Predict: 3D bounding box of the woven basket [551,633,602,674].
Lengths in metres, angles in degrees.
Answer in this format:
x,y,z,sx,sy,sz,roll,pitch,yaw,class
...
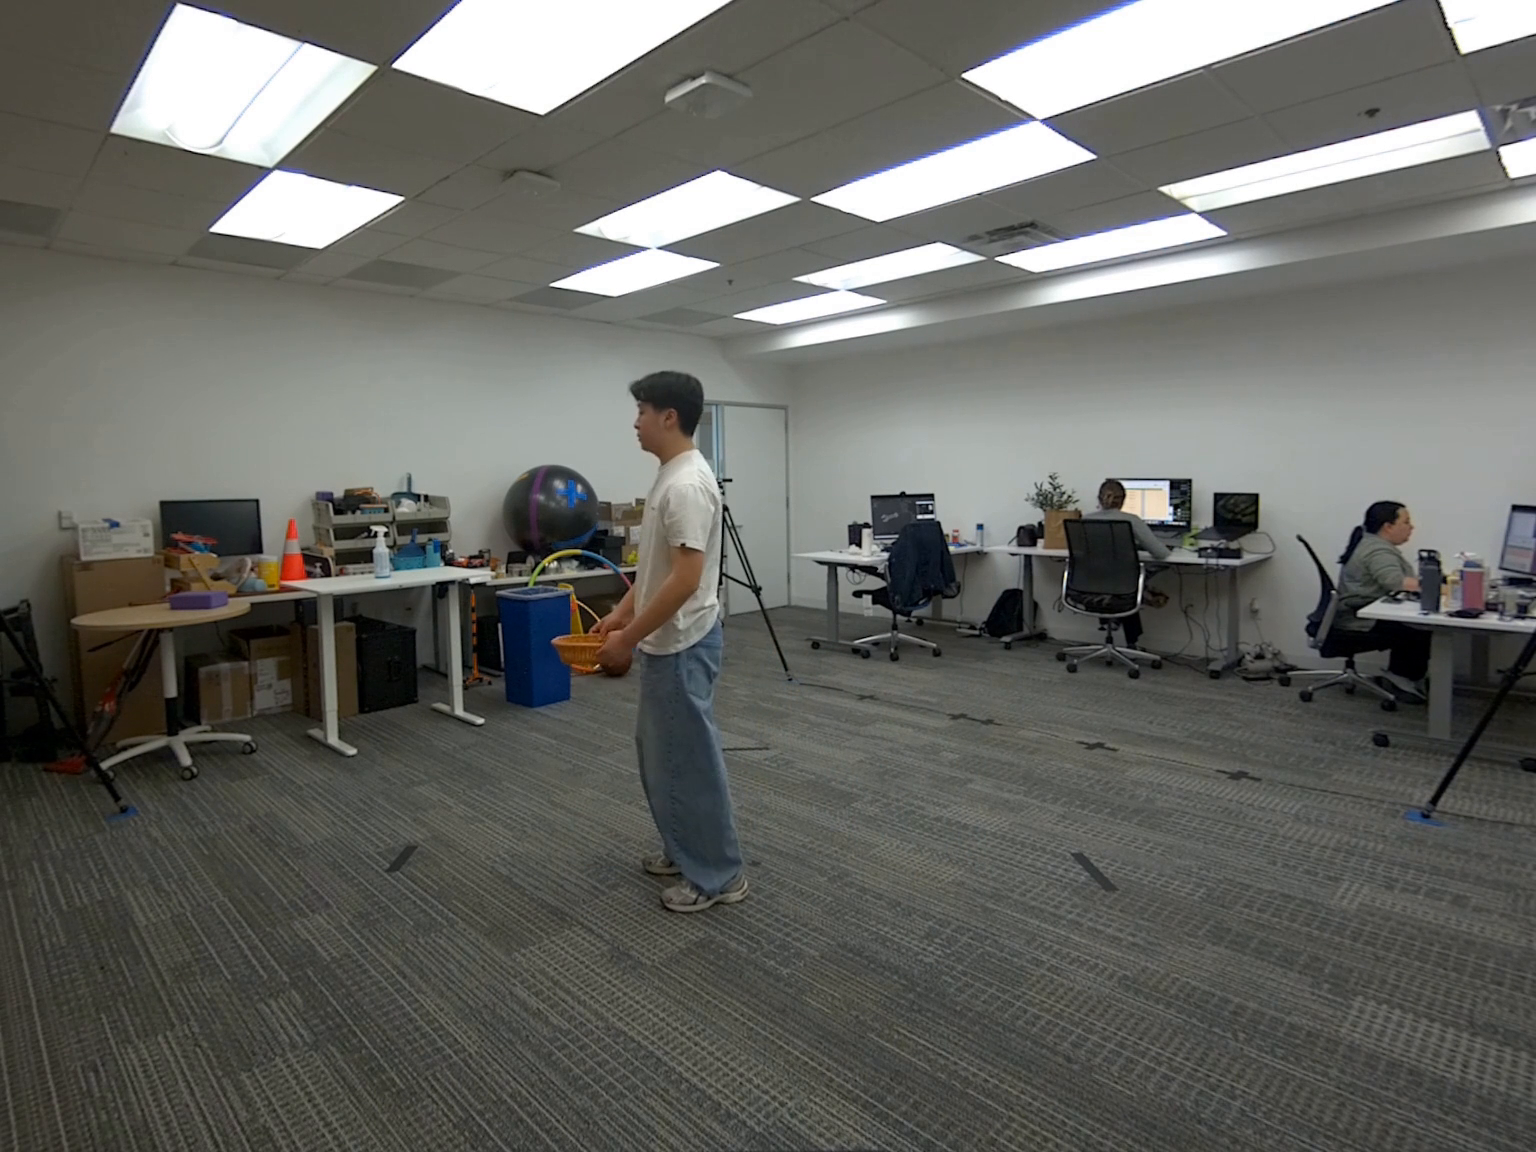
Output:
x,y,z,sx,sy,sz,roll,pitch,yaw,class
-0.586,0.266,2.847,0.251,0.073,0.352,1,2,-6,woven basket
